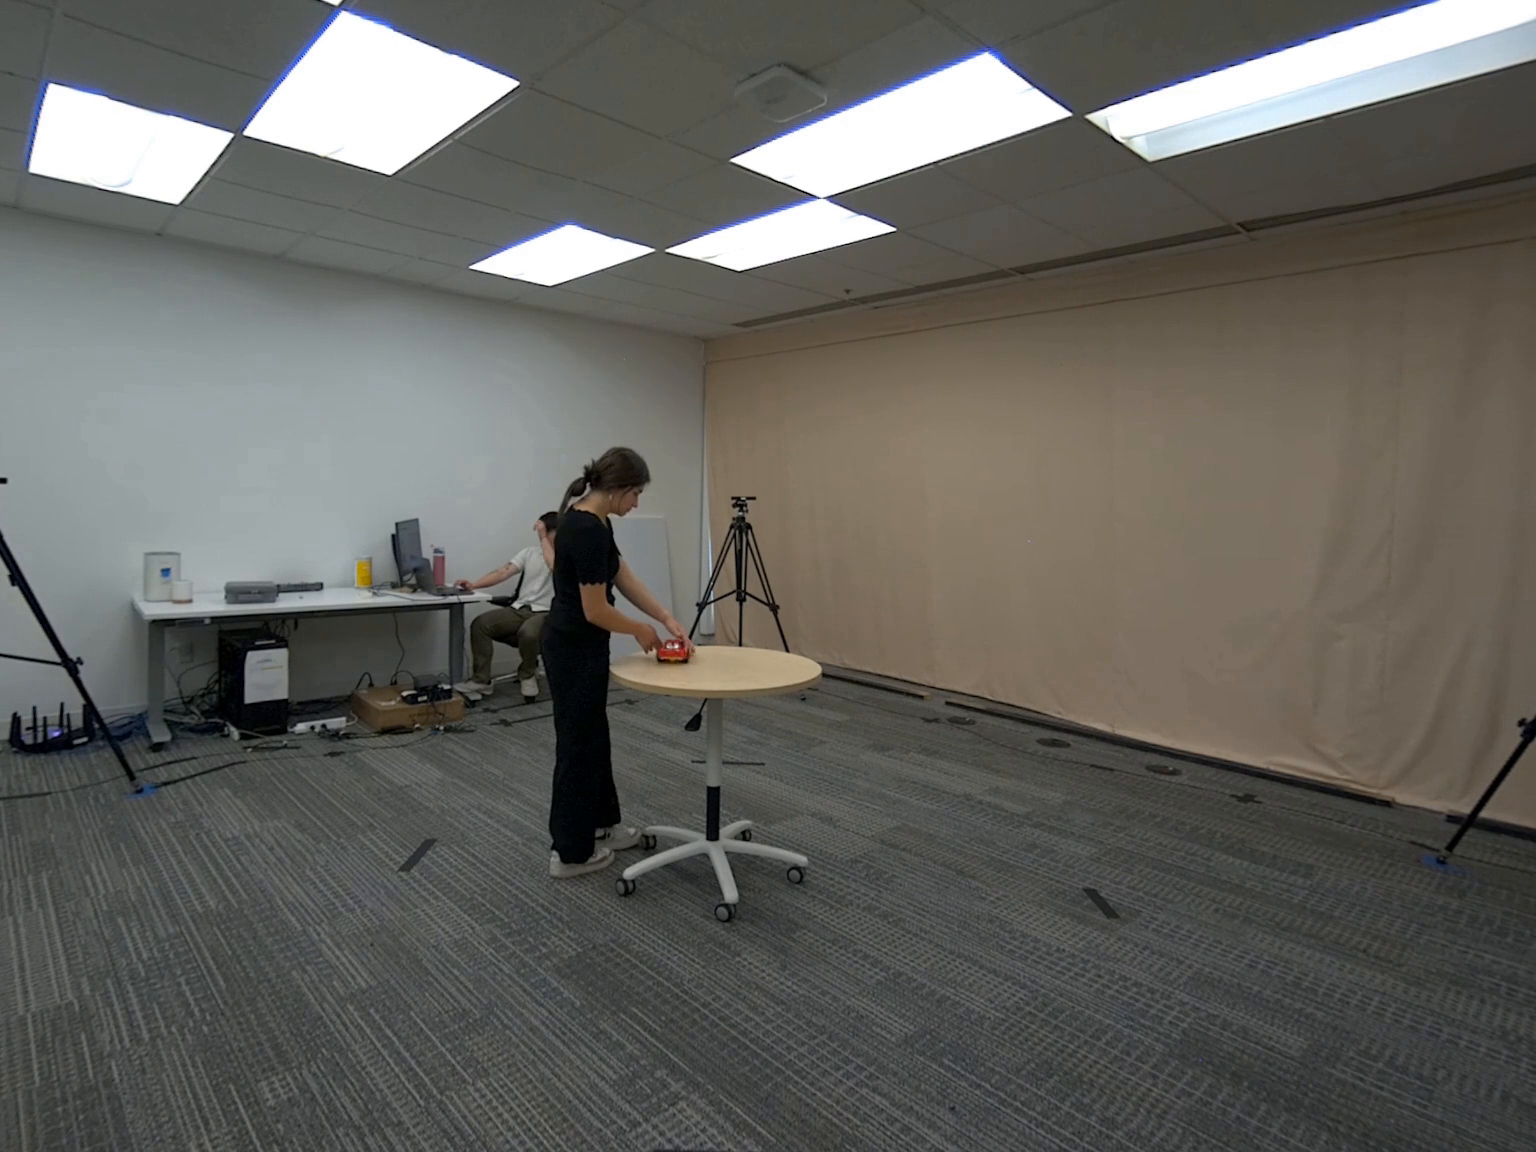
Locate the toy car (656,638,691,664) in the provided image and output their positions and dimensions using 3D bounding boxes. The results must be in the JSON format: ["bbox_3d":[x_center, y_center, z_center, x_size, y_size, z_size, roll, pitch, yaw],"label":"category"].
[{"bbox_3d":[-0.355,0.284,3.133,0.130,0.083,0.253,1,-6,-1],"label":"toy car"}]
